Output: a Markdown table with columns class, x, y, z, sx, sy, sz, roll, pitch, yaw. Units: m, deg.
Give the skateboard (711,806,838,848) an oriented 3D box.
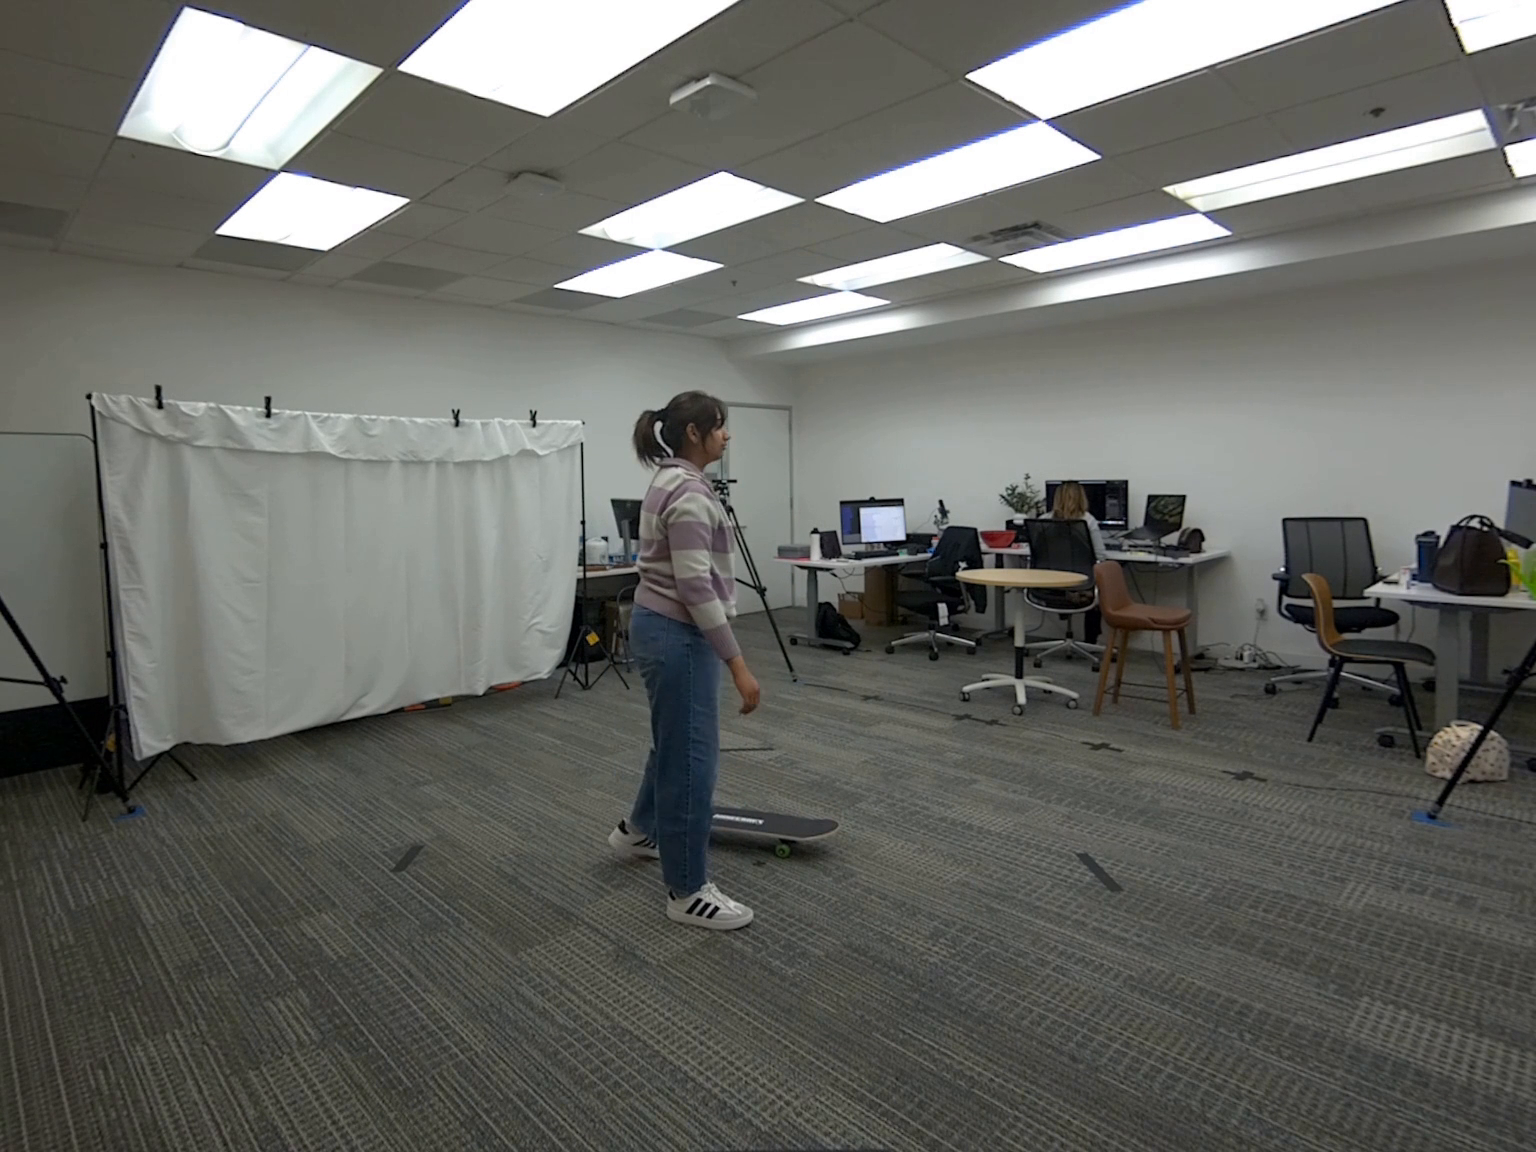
| class | x | y | z | sx | sy | sz | roll | pitch | yaw |
| --- | --- | --- | --- | --- | --- | --- | --- | --- | --- |
| skateboard | -0.110 | 0.971 | 3.299 | 0.800 | 0.110 | 0.191 | 1 | 6 | 19 |
